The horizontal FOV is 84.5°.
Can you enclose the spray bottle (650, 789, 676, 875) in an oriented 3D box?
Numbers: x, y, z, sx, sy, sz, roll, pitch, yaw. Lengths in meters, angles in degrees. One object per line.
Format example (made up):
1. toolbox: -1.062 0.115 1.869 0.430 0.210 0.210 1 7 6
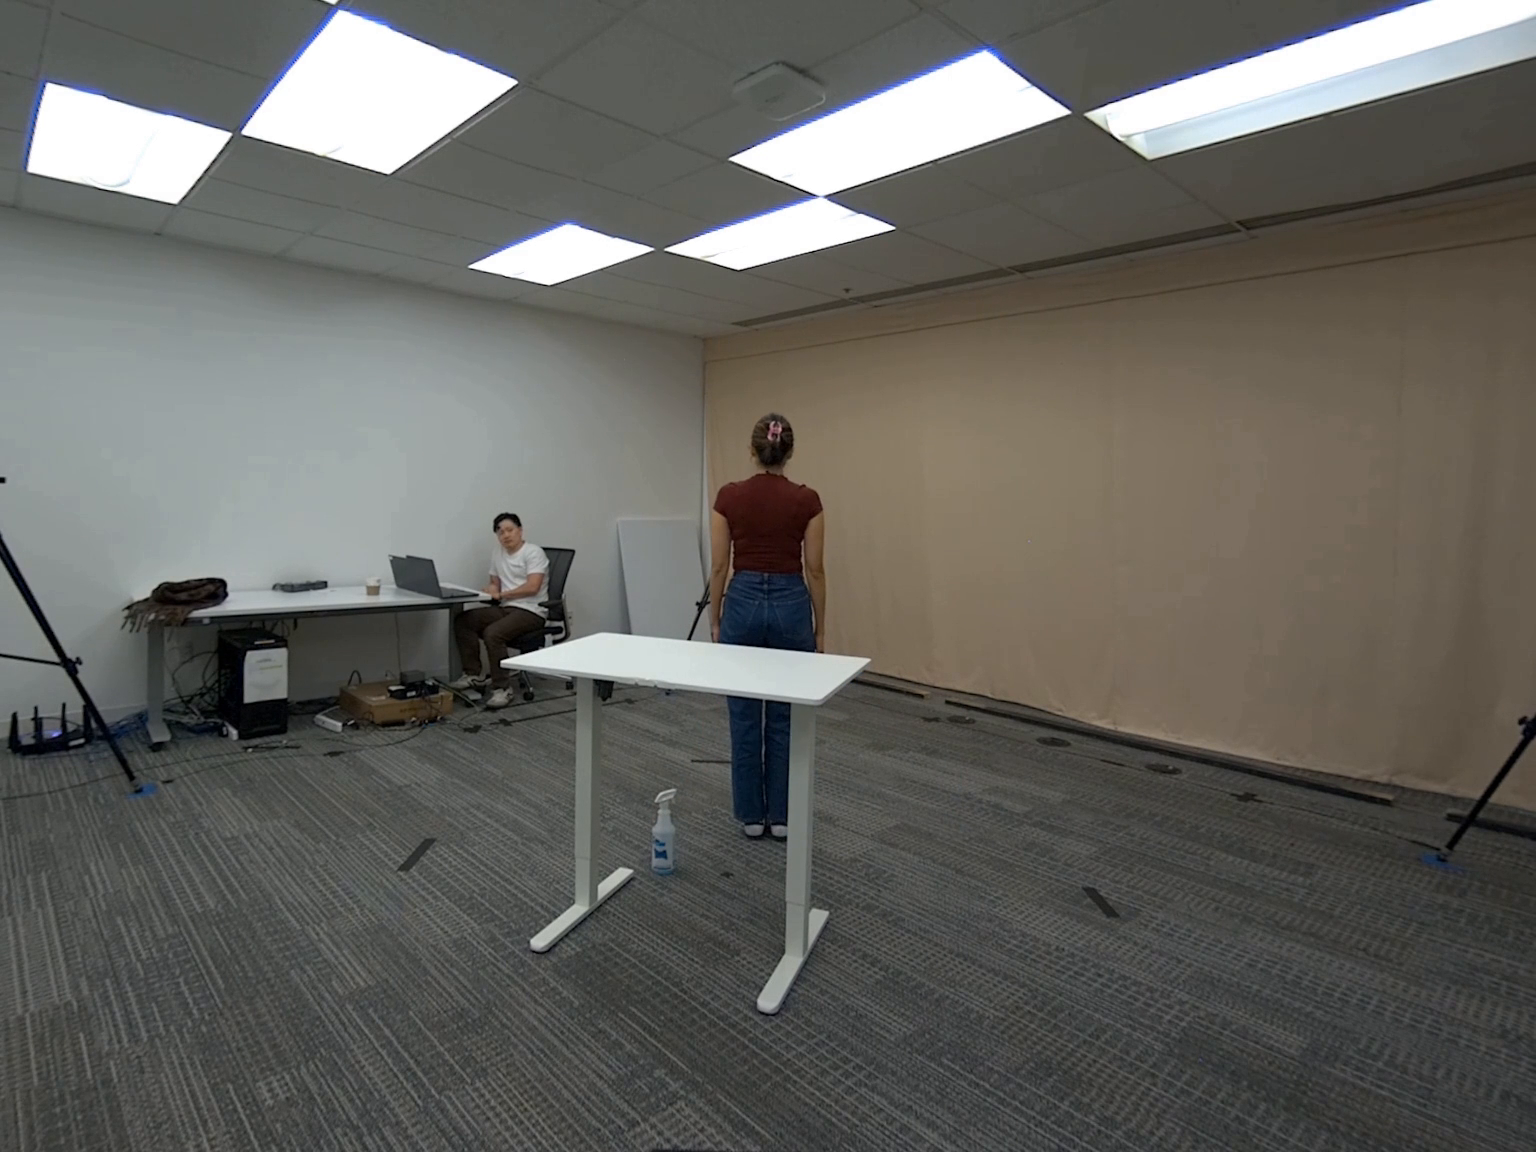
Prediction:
1. spray bottle: -0.391 0.948 3.121 0.089 0.297 0.088 1 3 -13
